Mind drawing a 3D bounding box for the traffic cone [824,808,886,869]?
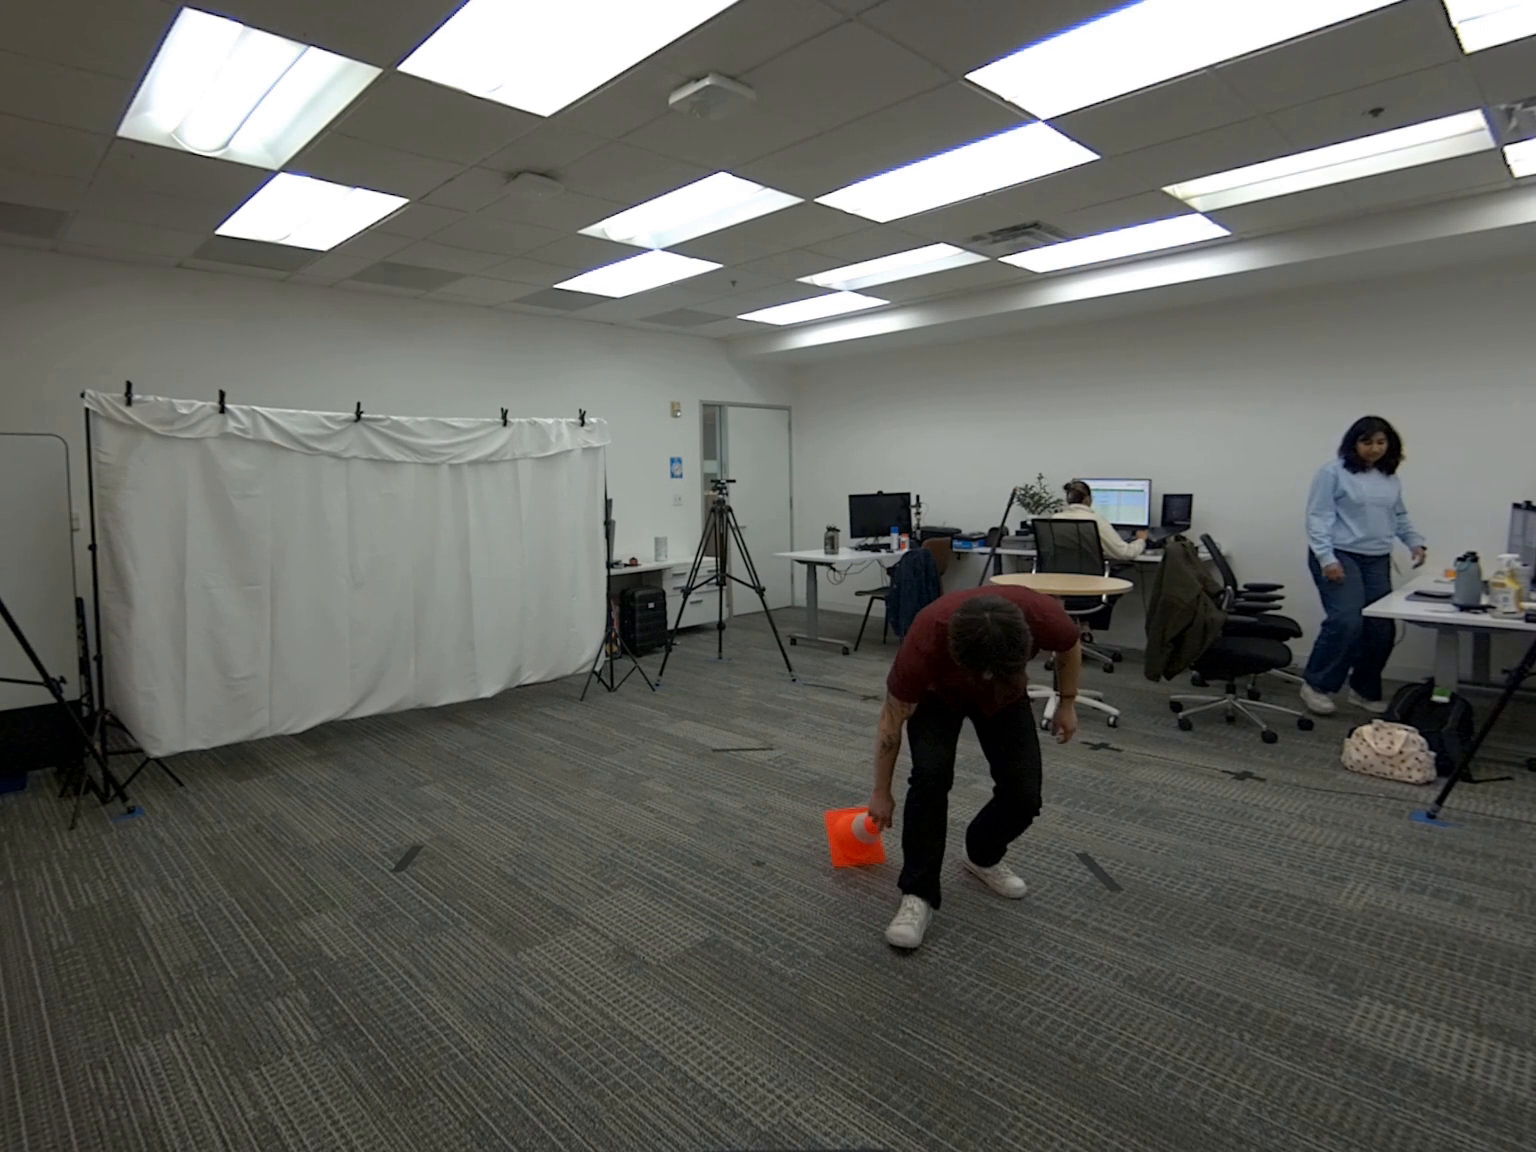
[{"bbox_3d":[0.358,0.882,2.969,0.203,0.208,0.379,3,-24,-10],"label":"traffic cone"}]
